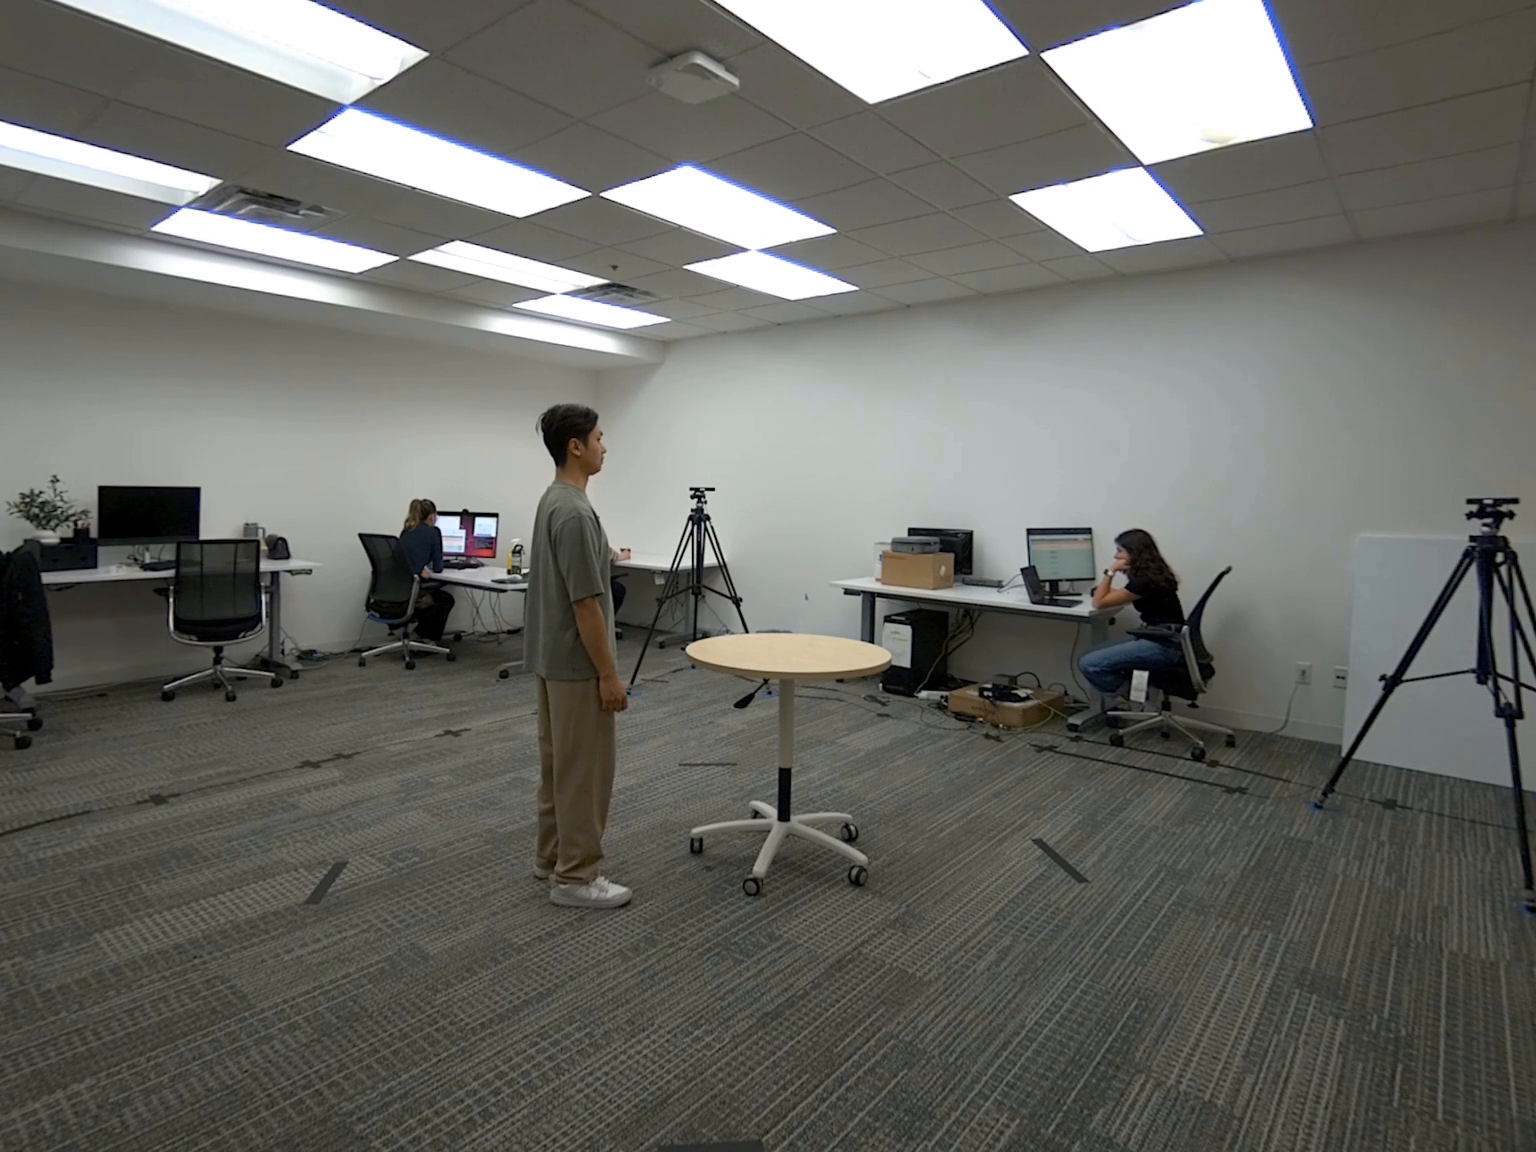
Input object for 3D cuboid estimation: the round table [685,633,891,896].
[{"bbox_3d":[0.073,0.672,3.209,0.784,0.783,0.789,0,5,-2],"label":"round table"}]
